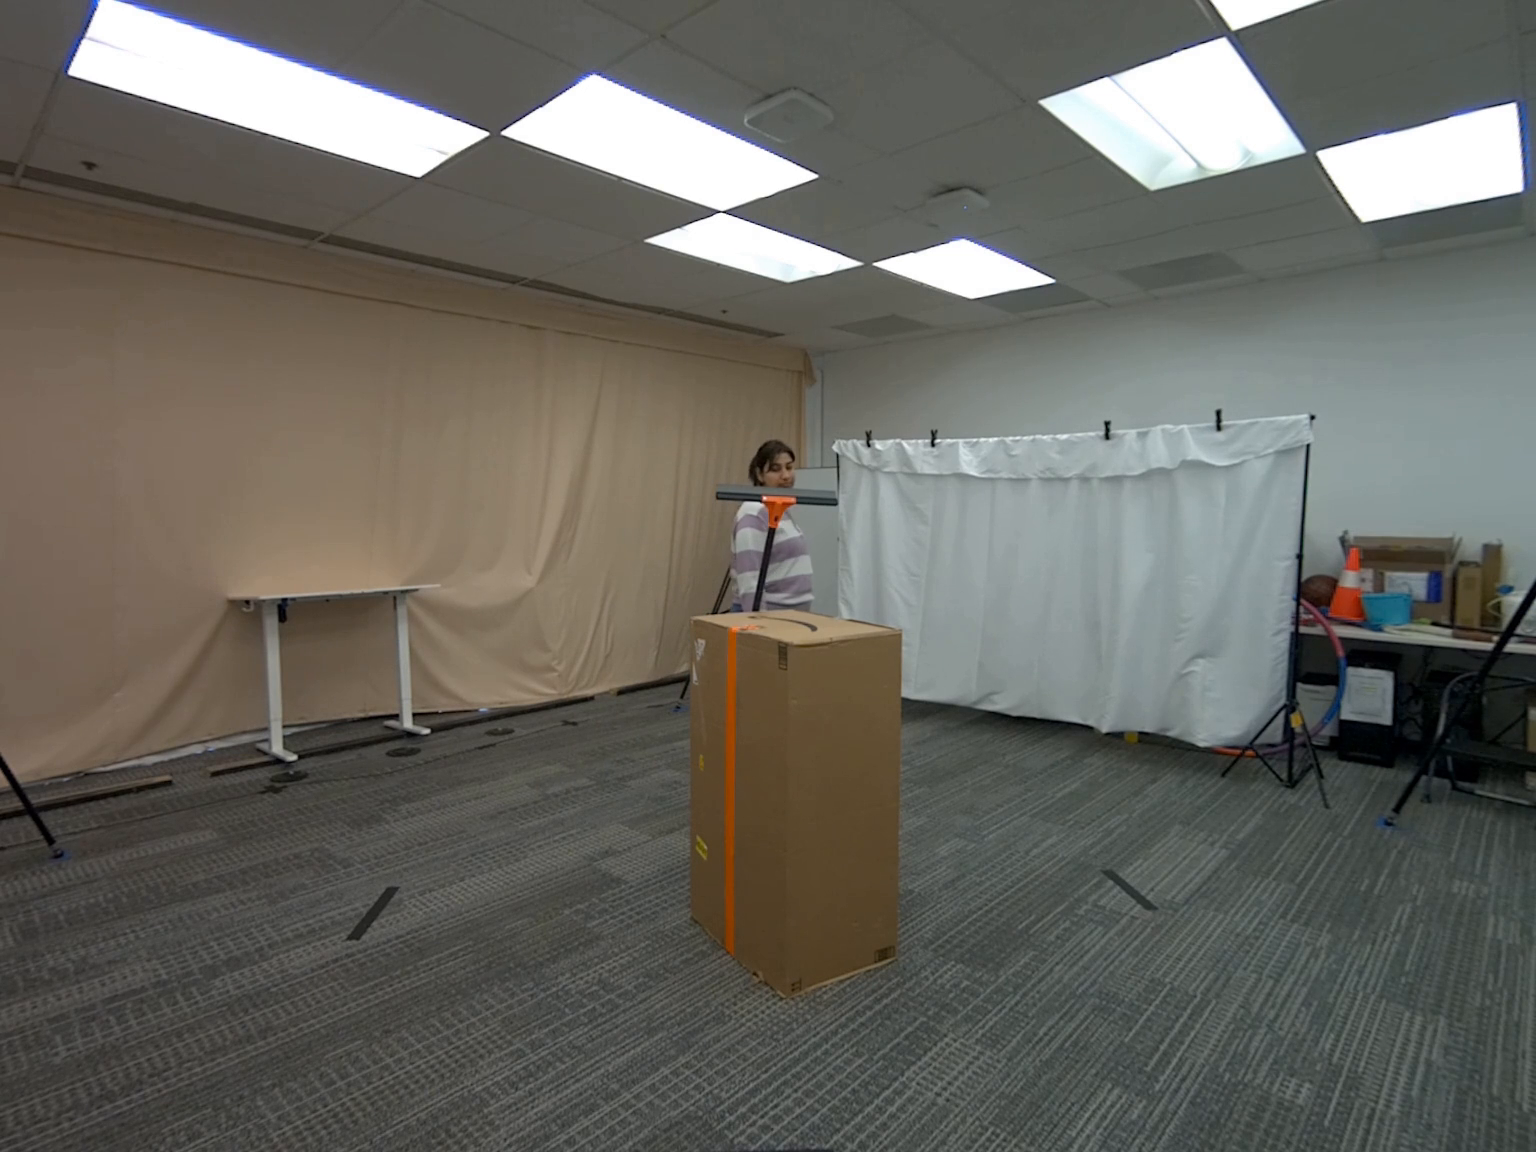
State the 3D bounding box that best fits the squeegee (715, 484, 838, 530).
[{"bbox_3d":[-0.094,0.409,3.079,0.427,1.525,0.054,3,24,-24],"label":"squeegee"}]
